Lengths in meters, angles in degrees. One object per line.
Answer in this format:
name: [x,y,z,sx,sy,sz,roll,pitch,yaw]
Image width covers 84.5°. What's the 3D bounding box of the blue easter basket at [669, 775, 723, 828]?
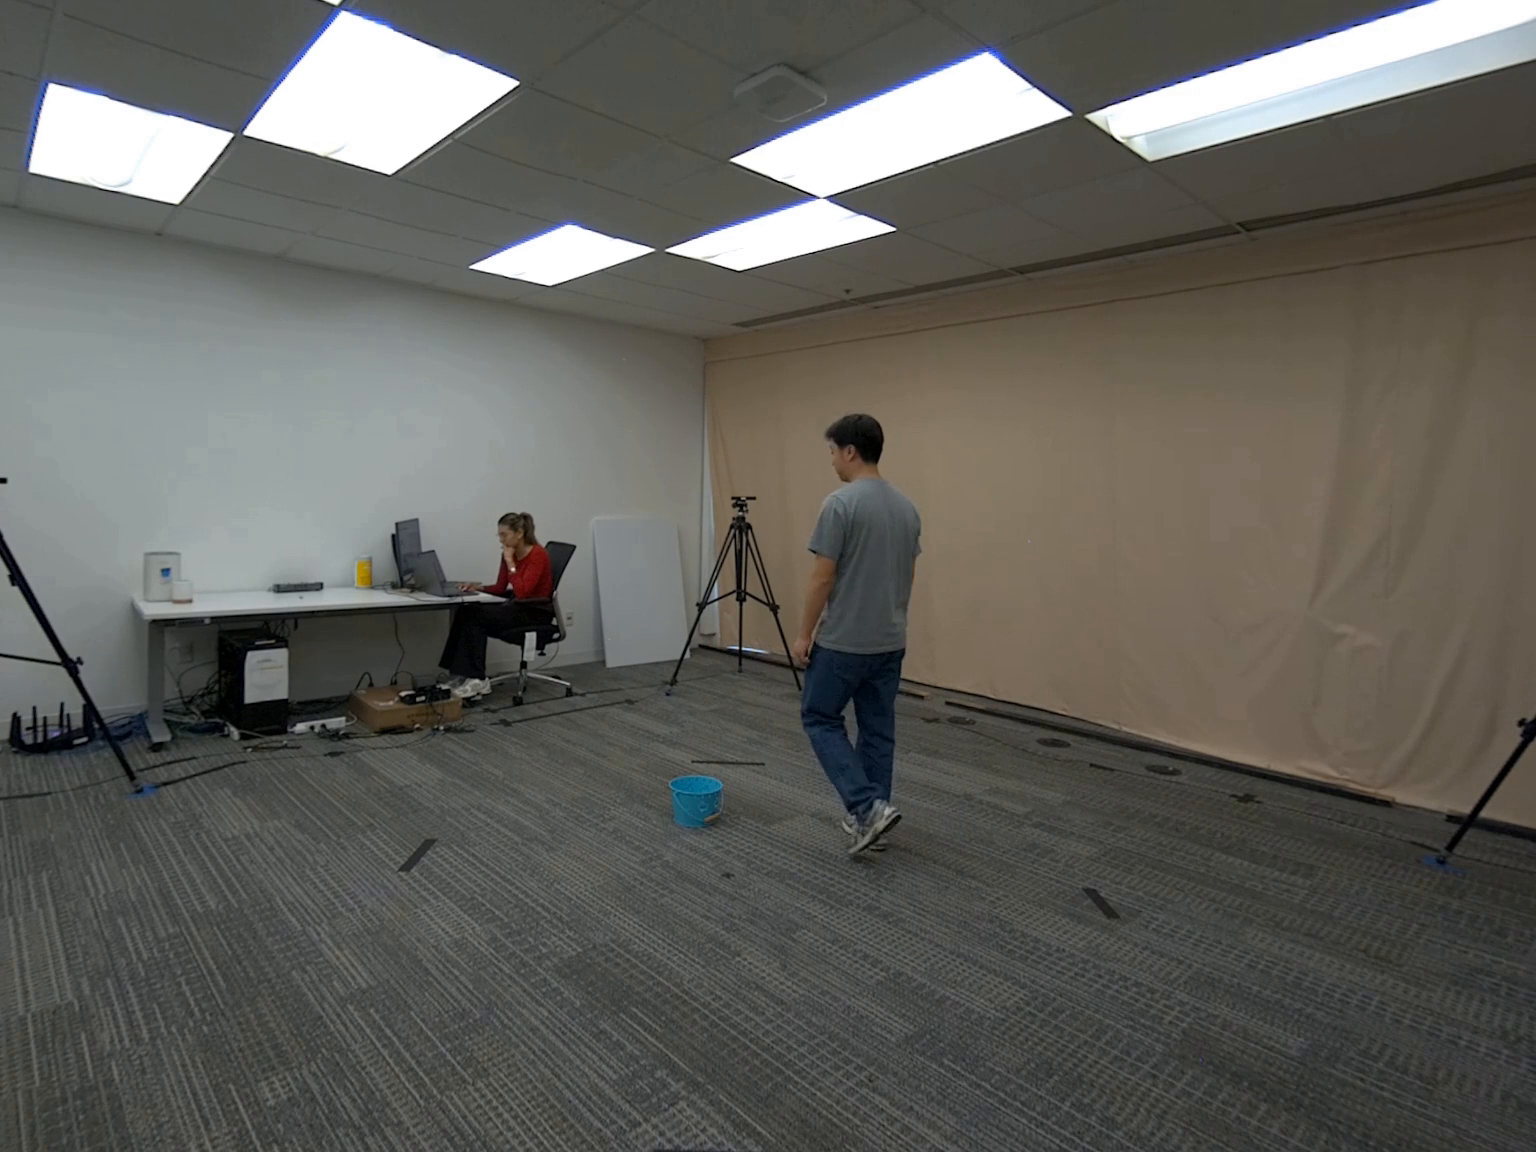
blue easter basket: [-0.318,0.970,3.640,0.243,0.155,0.244,0,4,-1]
